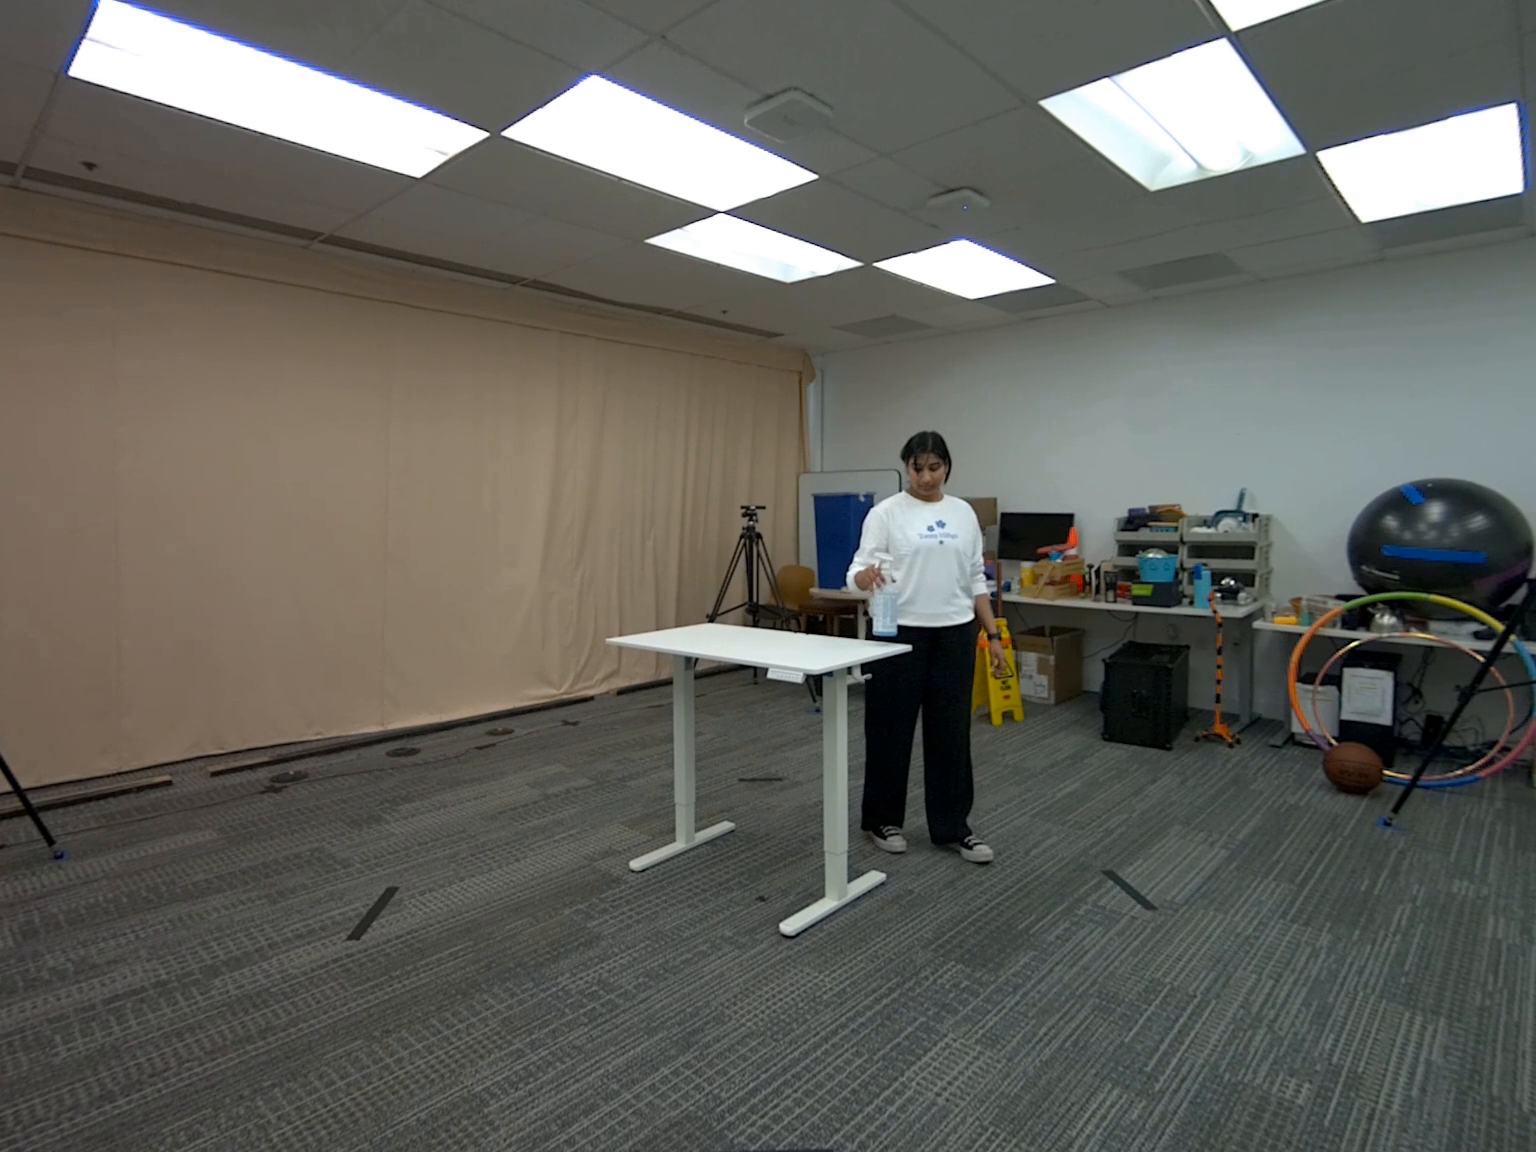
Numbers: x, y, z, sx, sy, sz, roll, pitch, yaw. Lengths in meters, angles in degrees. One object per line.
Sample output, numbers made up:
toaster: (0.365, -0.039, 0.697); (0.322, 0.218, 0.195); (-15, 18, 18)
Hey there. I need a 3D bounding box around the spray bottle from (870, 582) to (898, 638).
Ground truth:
spray bottle: (0.431, 0.068, 3.050); (0.089, 0.298, 0.088); (0, -3, -11)
